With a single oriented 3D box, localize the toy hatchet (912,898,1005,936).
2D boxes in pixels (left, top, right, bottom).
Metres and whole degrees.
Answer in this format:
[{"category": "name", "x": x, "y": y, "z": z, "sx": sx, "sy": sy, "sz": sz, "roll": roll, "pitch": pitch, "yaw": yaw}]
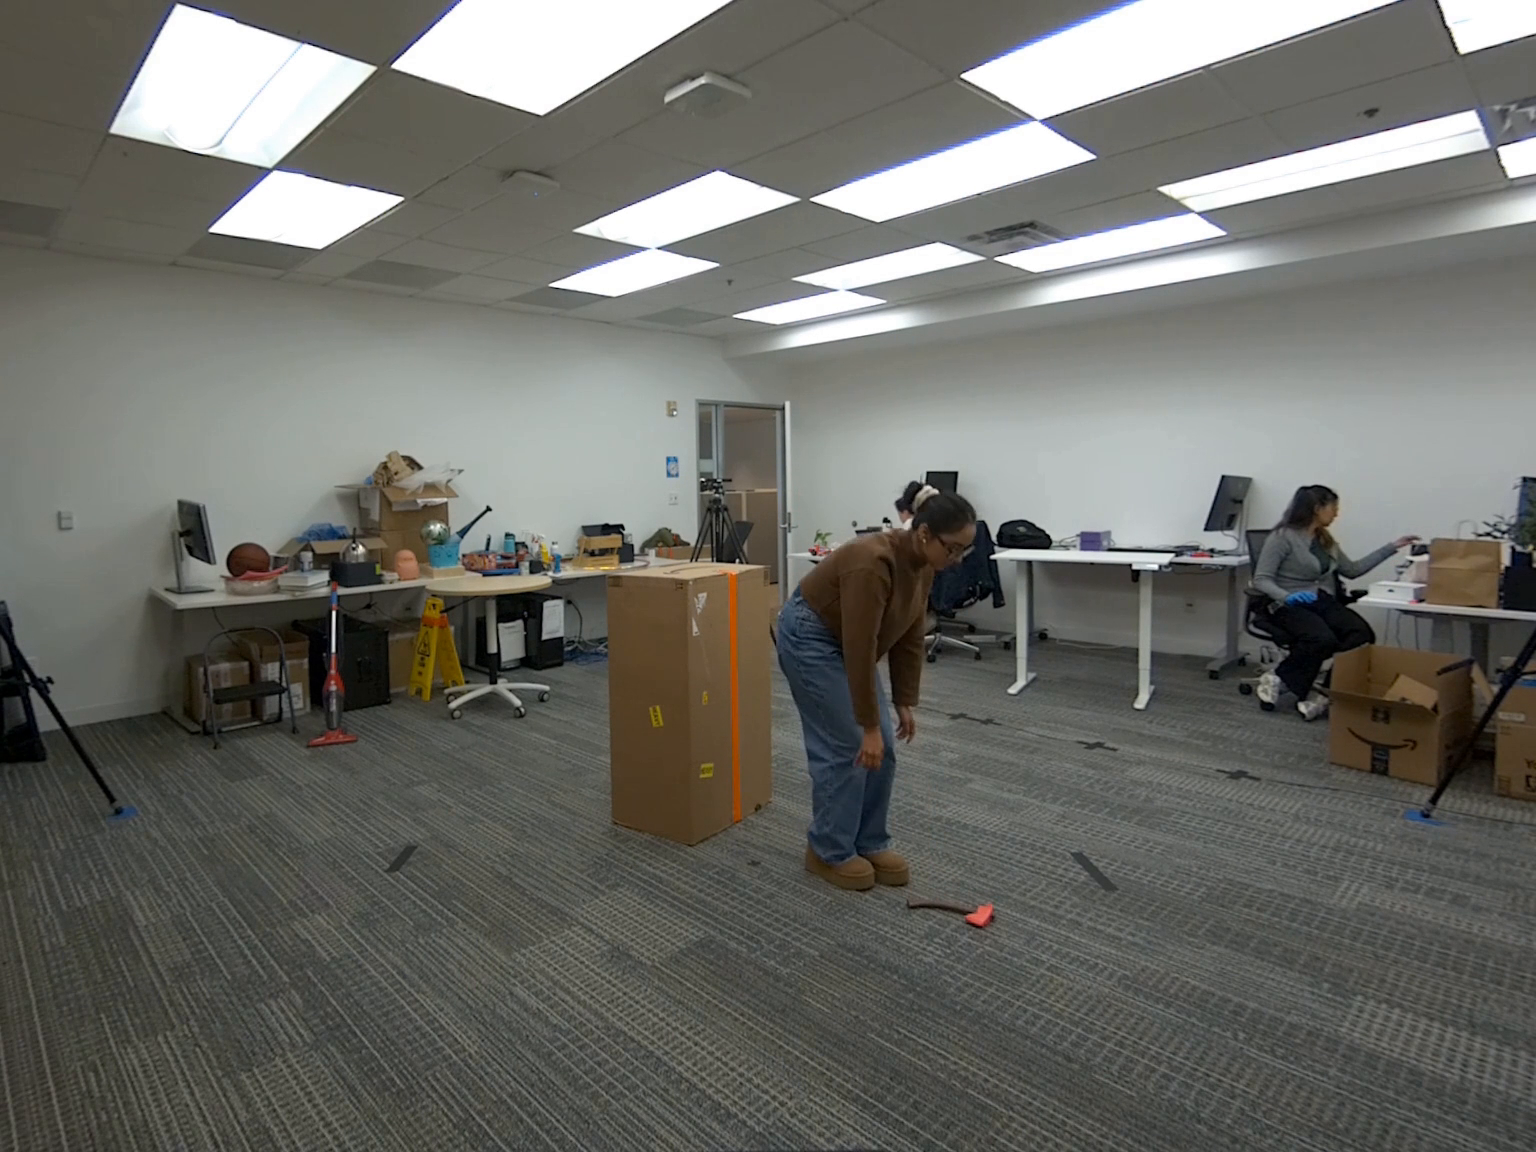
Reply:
[{"category": "toy hatchet", "x": 0.595, "y": 1.073, "z": 2.702, "sx": 0.273, "sy": 0.029, "sz": 0.130, "roll": -2, "pitch": 10, "yaw": 12}]
